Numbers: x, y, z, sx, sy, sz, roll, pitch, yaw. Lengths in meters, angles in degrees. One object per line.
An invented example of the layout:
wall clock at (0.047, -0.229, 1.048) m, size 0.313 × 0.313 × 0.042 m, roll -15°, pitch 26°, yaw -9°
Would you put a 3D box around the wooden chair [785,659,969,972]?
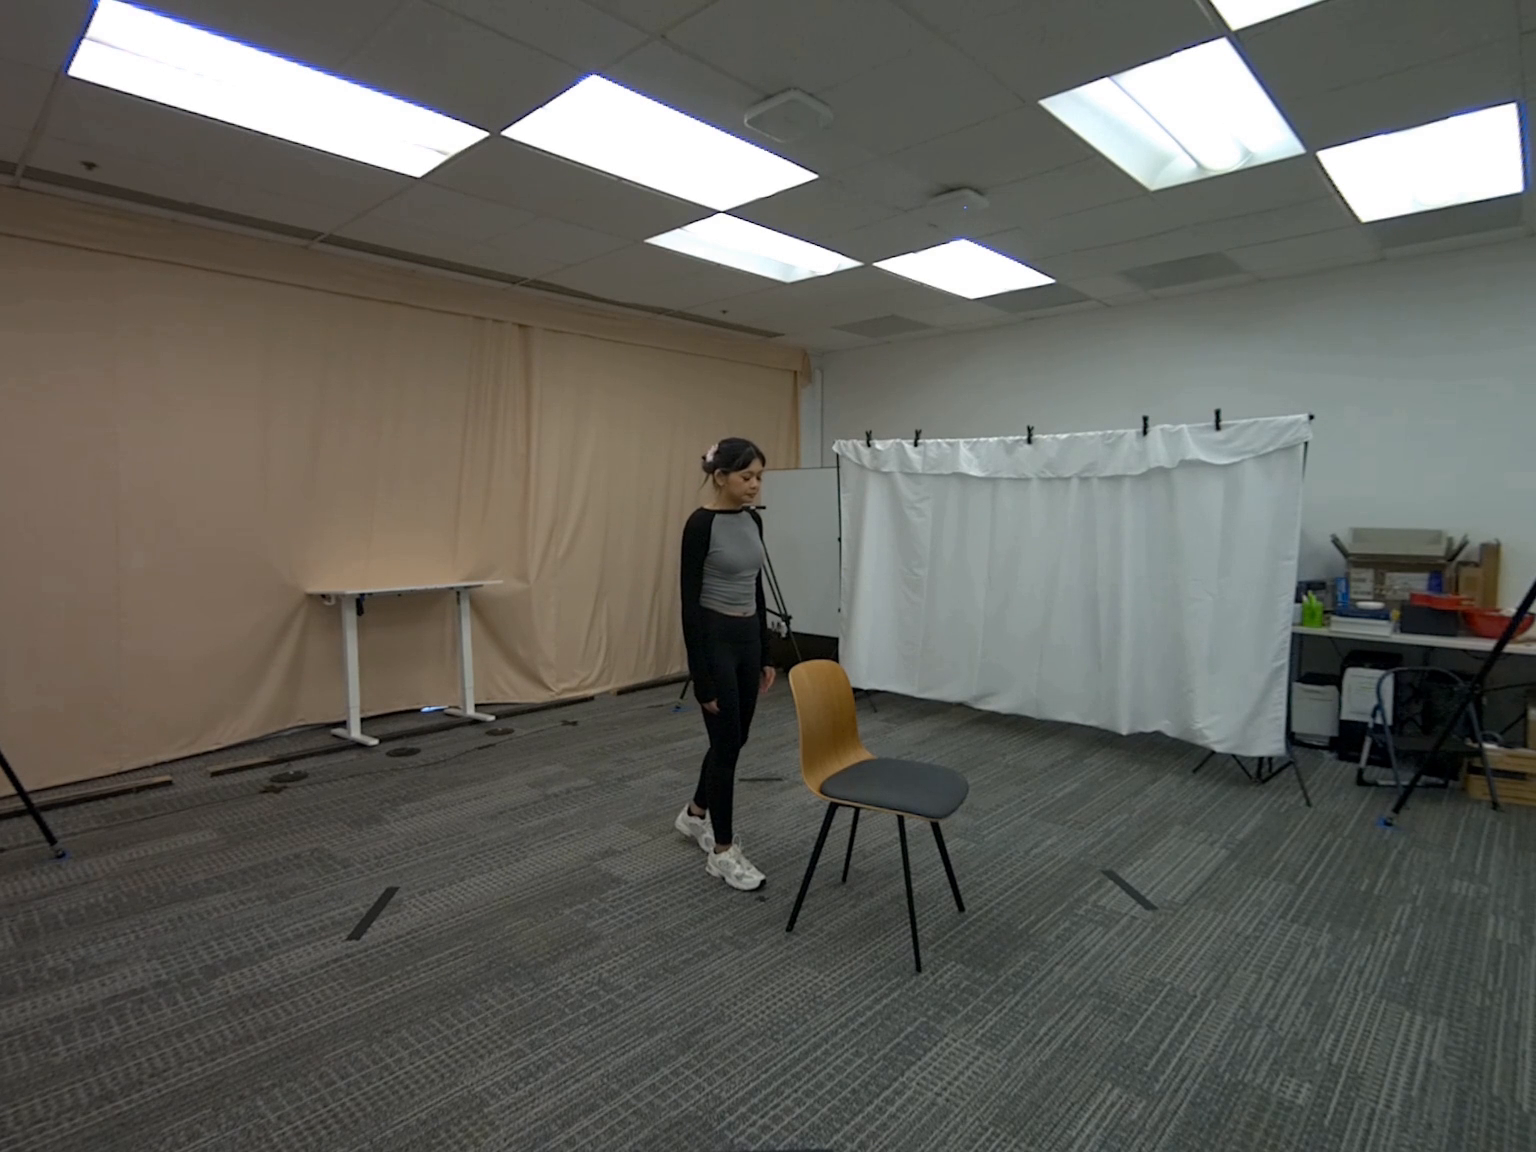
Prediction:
wooden chair at (0.380, 0.732, 2.783) m, size 0.538 × 0.877 × 0.465 m, roll -3°, pitch 1°, yaw 32°
